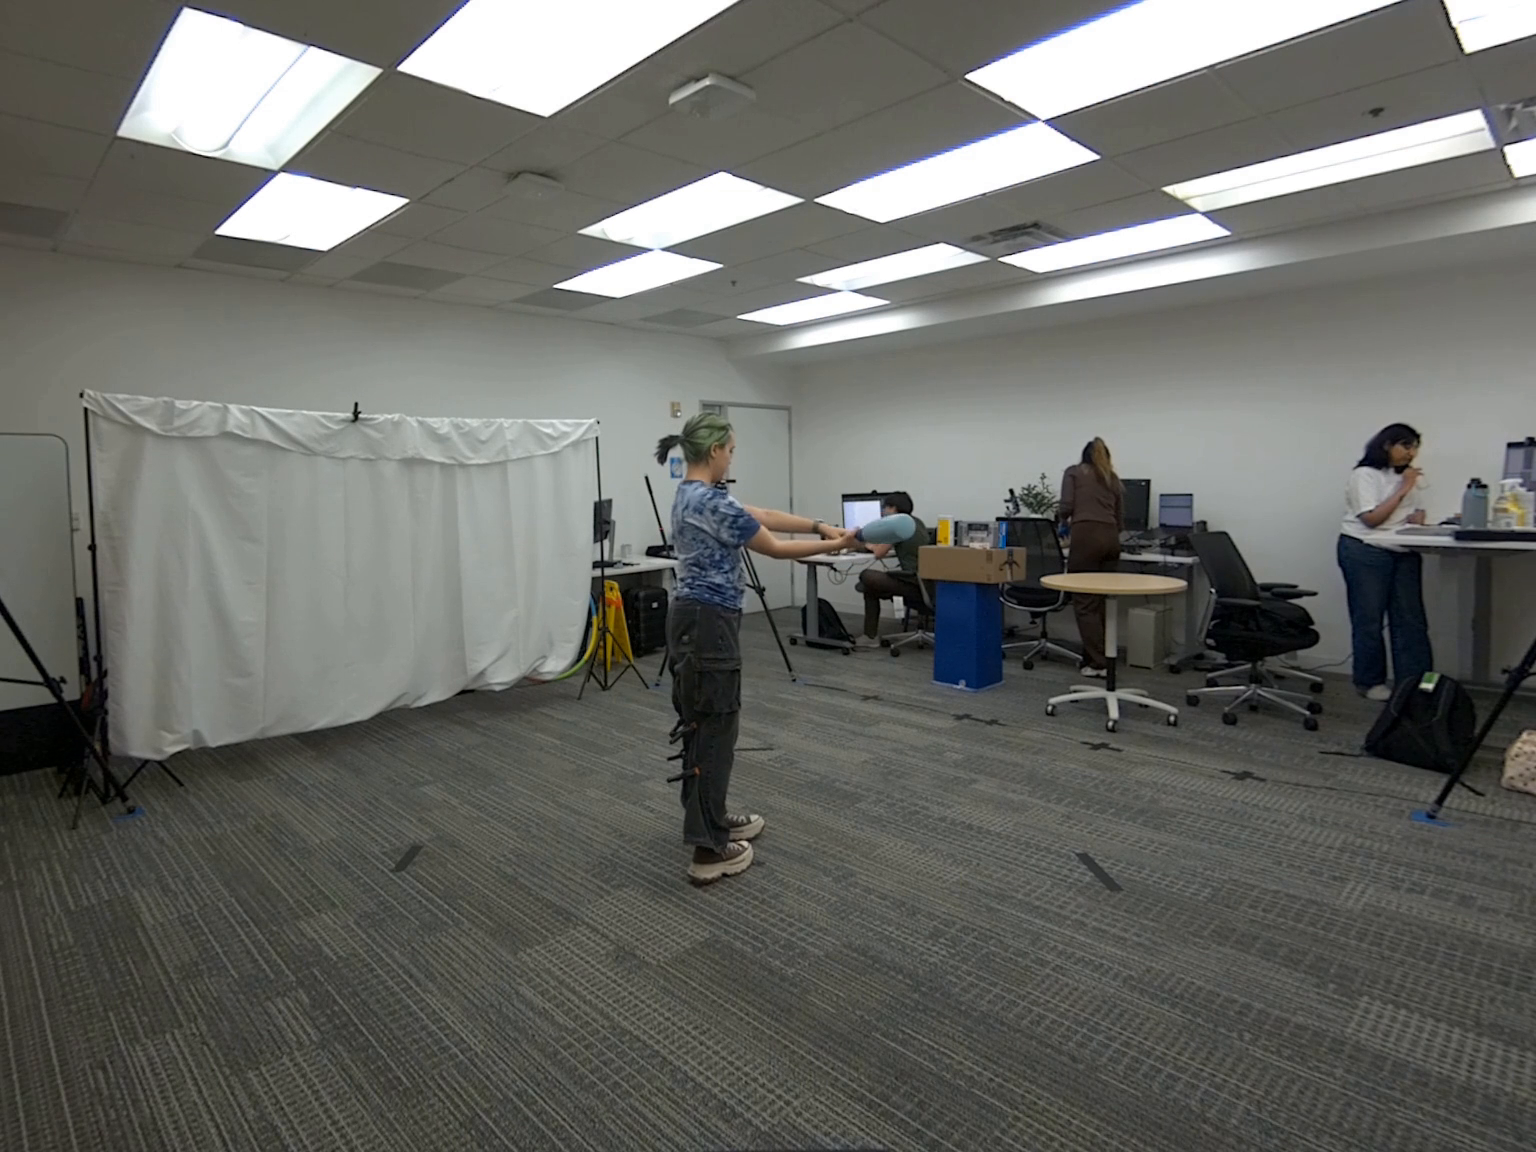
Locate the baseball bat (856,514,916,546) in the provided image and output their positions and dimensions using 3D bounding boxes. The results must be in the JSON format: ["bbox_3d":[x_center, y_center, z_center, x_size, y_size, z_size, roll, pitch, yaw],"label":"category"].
[{"bbox_3d":[0.344,-0.146,3.016,0.087,0.089,0.550,-2,-1,-19],"label":"baseball bat"}]
